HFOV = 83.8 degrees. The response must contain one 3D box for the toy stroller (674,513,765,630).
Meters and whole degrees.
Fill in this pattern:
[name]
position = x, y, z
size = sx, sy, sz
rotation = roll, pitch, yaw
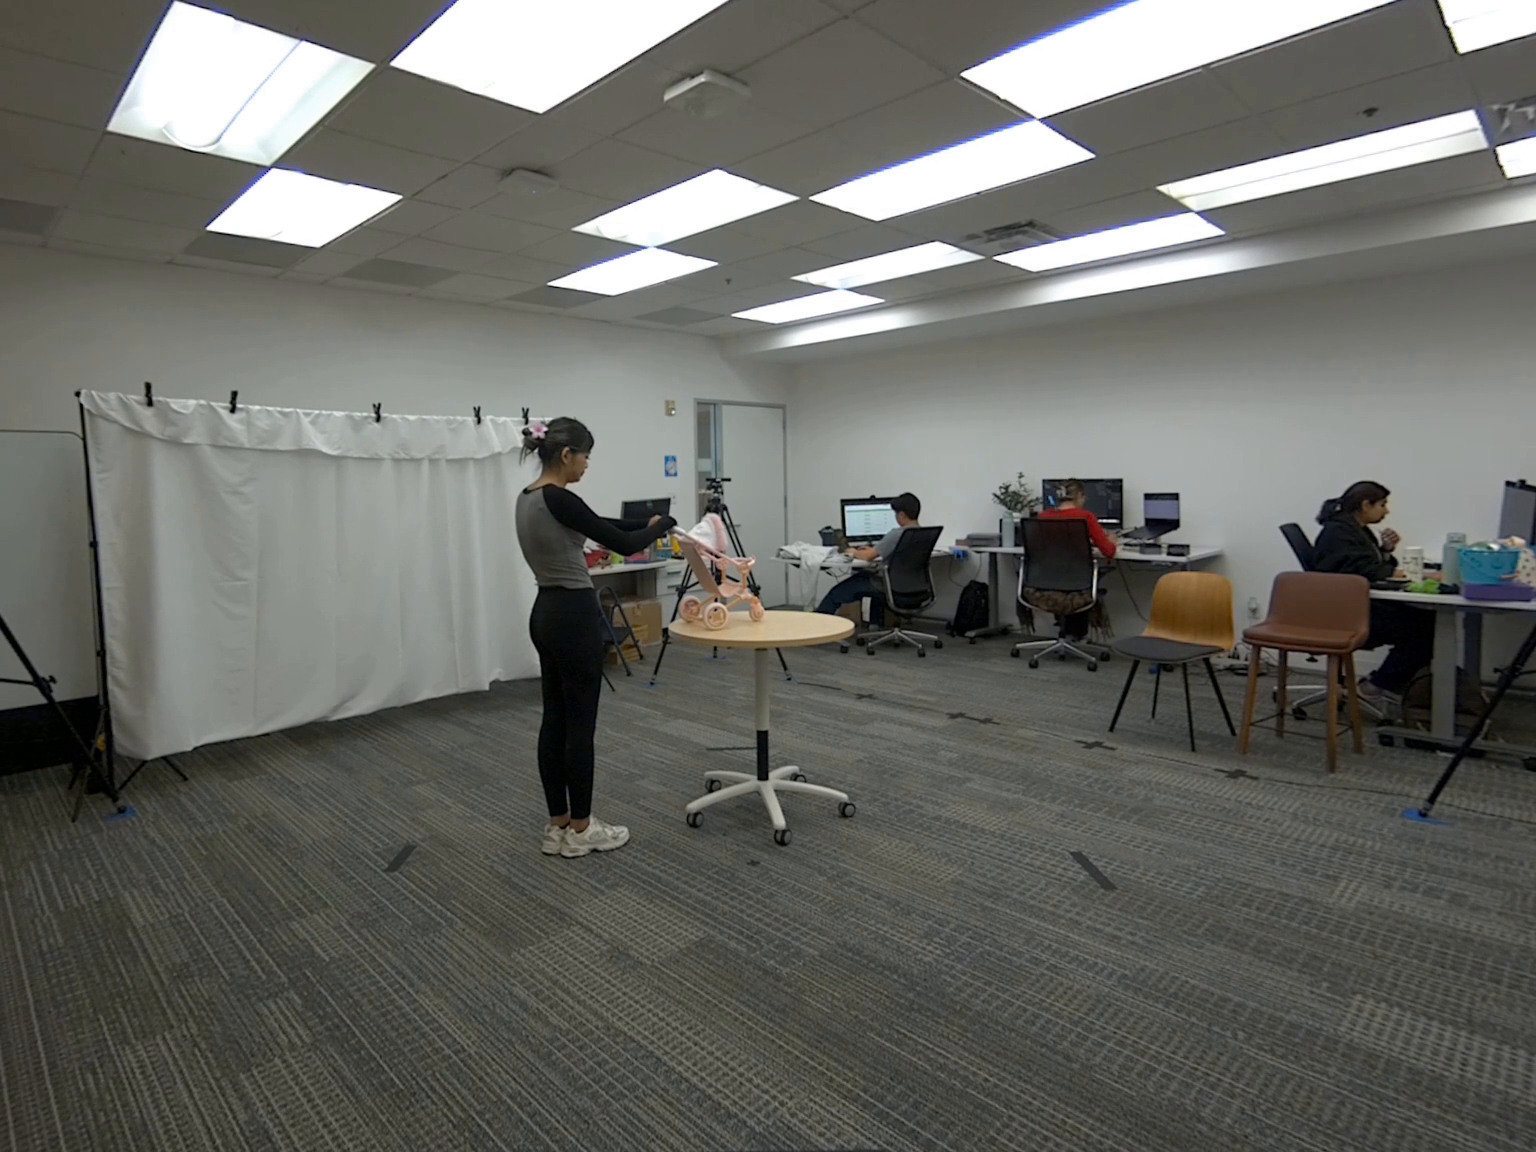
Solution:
[toy stroller]
position = -0.215, -0.019, 3.527
size = 0.337, 0.529, 0.288
rotation = -18, 11, -22
